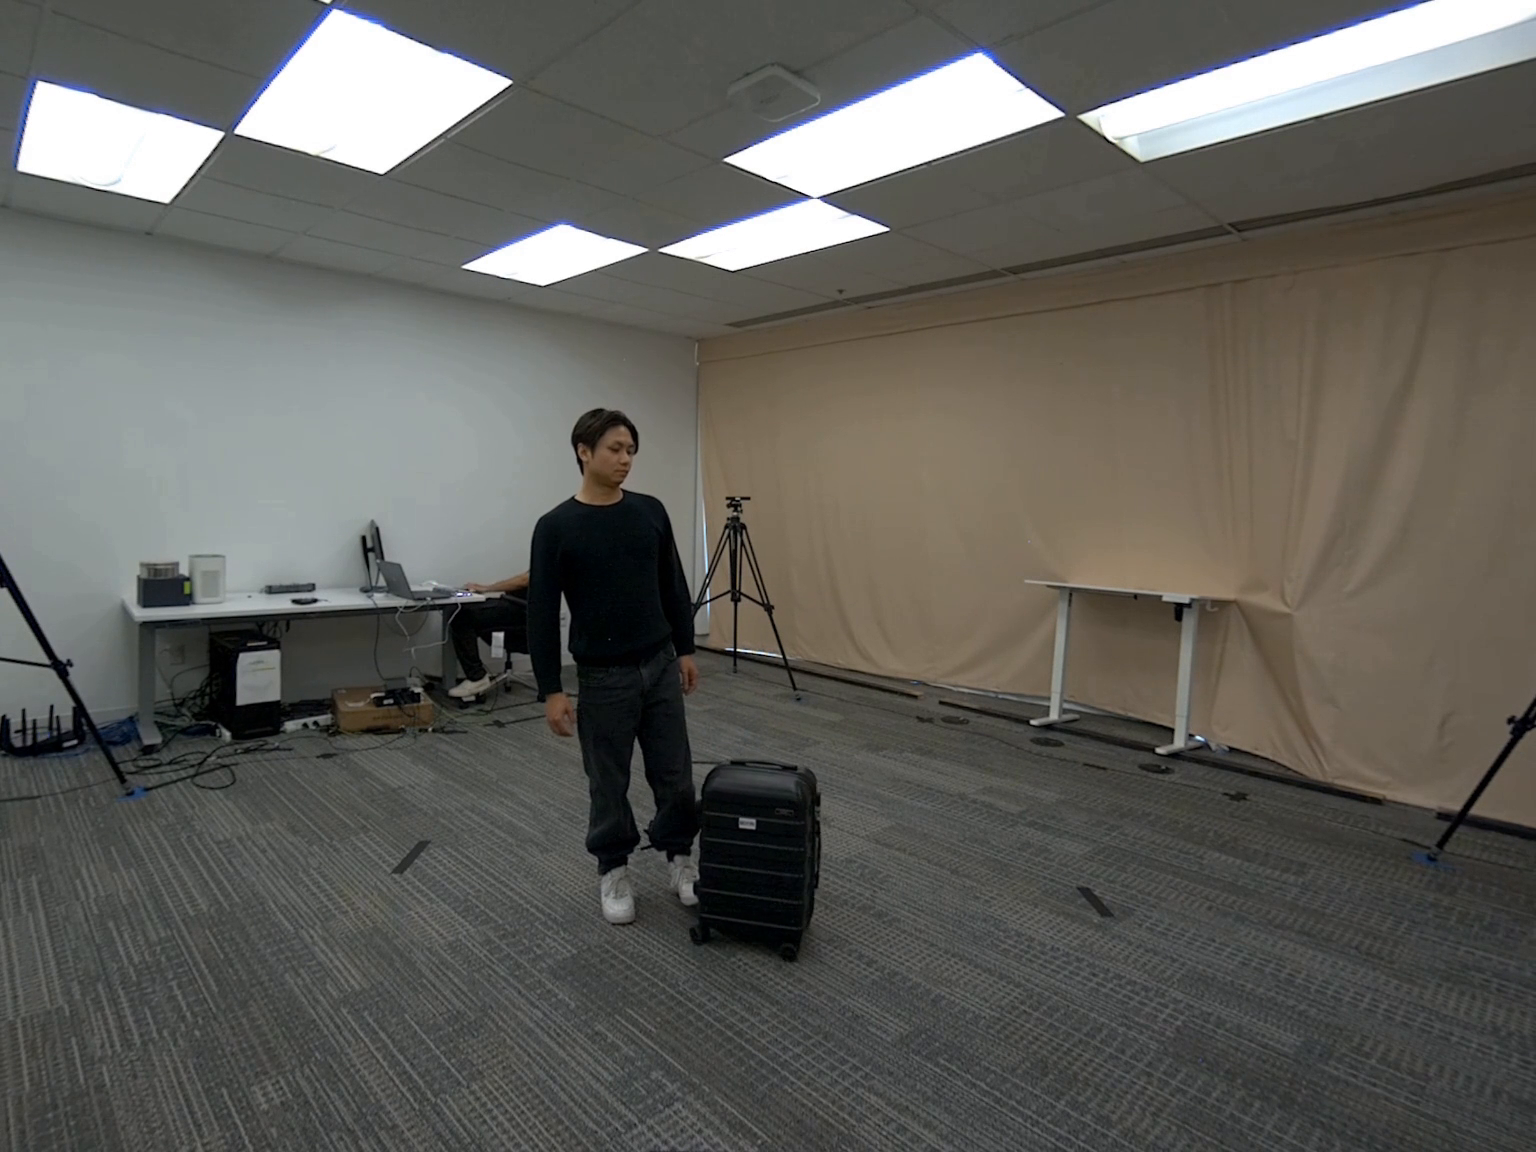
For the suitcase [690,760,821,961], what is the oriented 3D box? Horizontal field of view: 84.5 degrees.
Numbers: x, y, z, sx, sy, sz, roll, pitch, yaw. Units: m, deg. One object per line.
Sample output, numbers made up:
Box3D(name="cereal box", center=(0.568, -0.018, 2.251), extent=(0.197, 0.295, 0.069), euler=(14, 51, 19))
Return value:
Box3D(name="suitcase", center=(-0.031, 0.879, 2.660), extent=(0.380, 0.547, 0.246), euler=(4, 5, 13))
